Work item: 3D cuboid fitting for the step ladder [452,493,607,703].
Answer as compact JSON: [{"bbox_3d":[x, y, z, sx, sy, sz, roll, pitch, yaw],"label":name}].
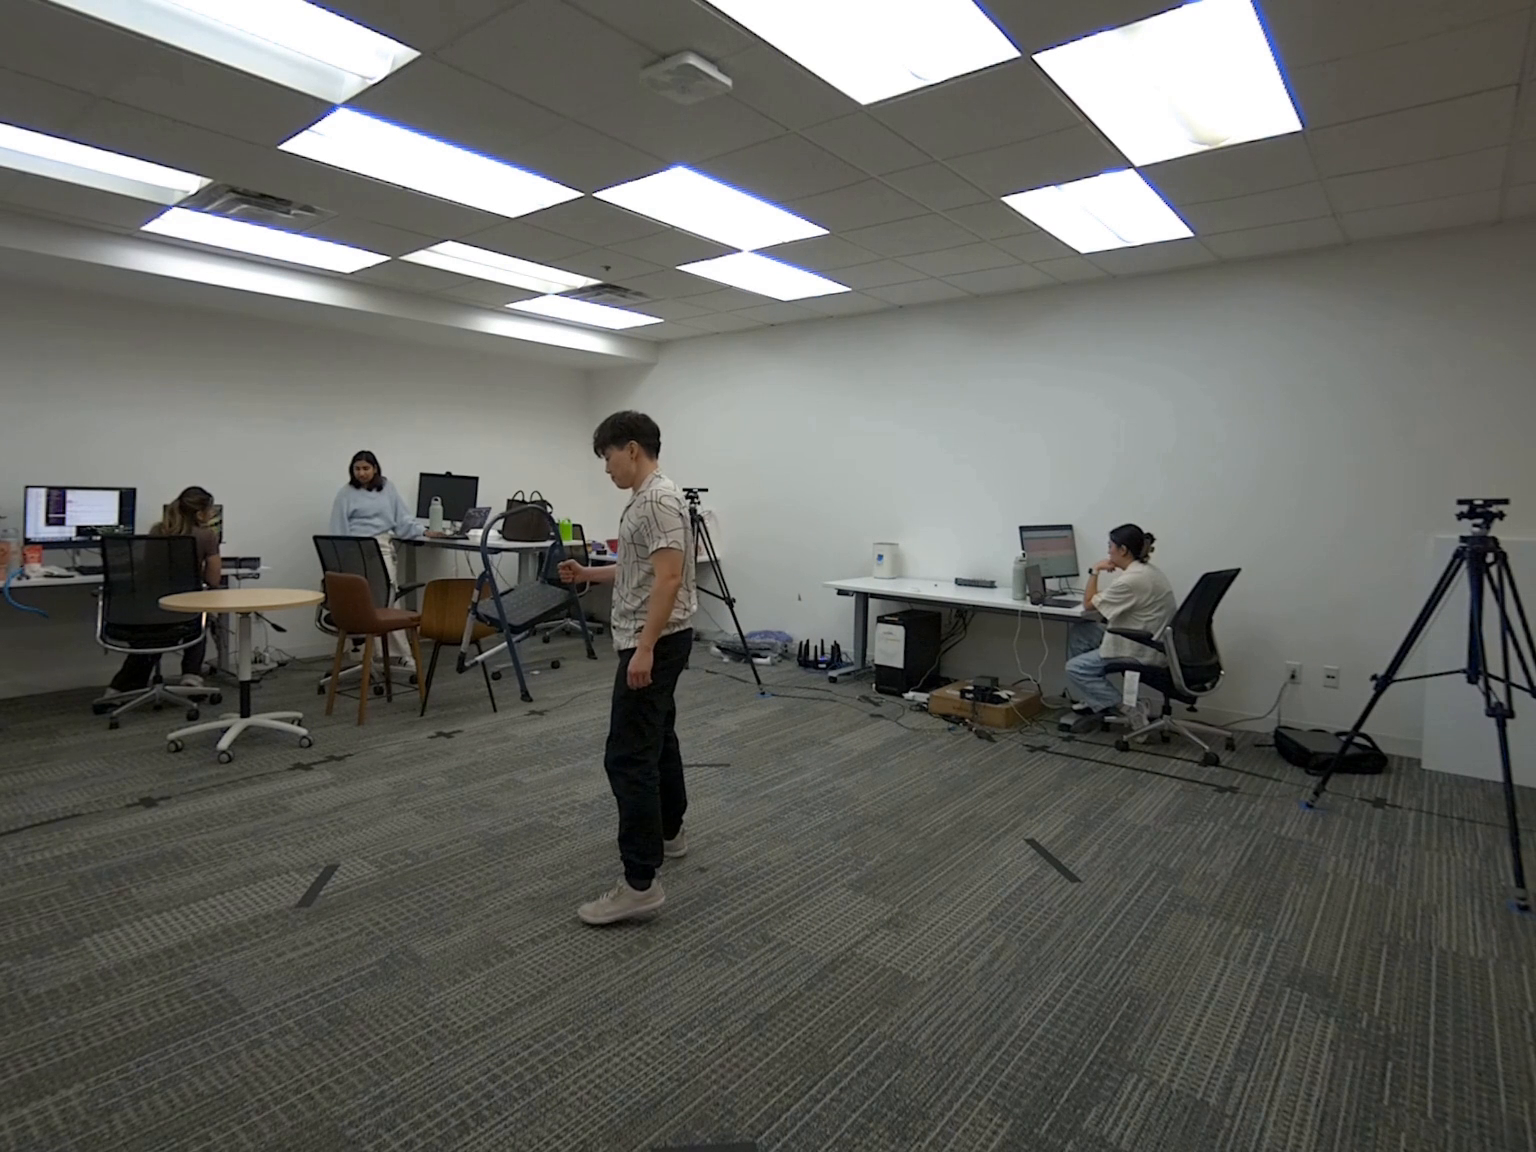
[{"bbox_3d":[-0.887,0.059,3.133,0.359,0.597,0.426,14,21,22],"label":"step ladder"}]
